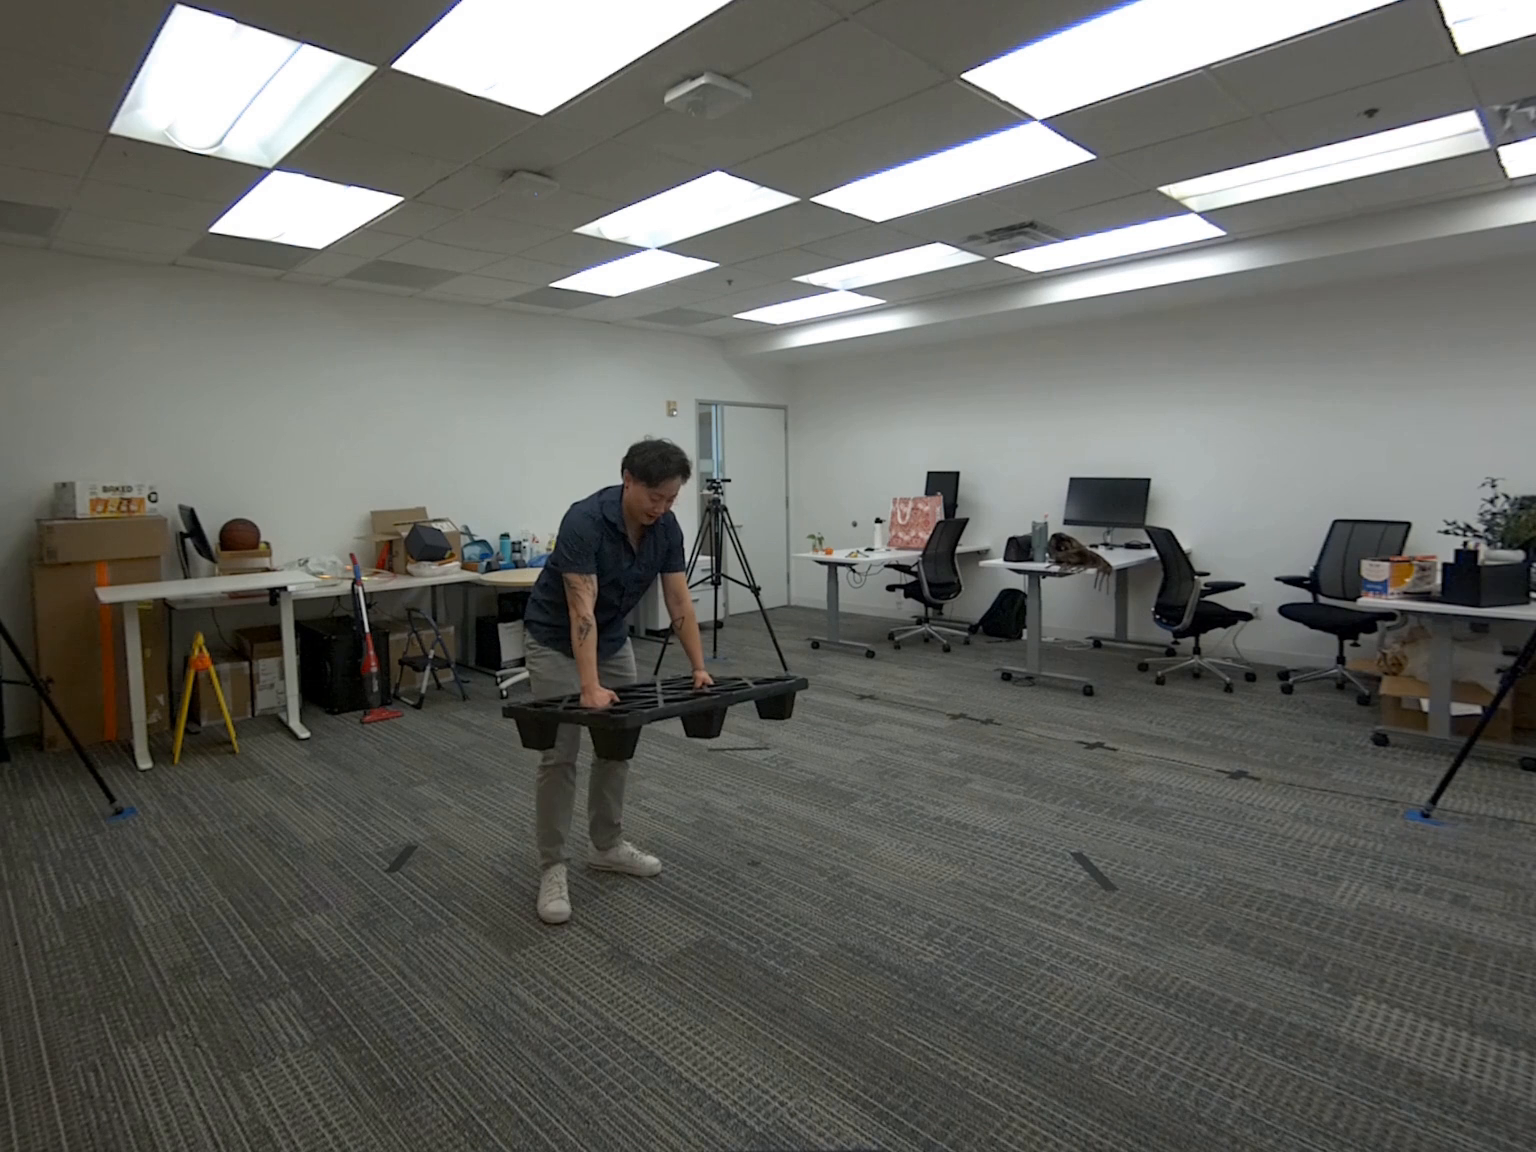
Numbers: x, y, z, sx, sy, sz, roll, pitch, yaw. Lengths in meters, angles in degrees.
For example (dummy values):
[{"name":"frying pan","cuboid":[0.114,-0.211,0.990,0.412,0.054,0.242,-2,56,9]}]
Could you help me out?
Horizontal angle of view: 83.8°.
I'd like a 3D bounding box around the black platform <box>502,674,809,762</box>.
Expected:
[{"name":"black platform","cuboid":[-0.344,0.440,2.713,0.621,0.144,0.783,-5,-1,43]}]
